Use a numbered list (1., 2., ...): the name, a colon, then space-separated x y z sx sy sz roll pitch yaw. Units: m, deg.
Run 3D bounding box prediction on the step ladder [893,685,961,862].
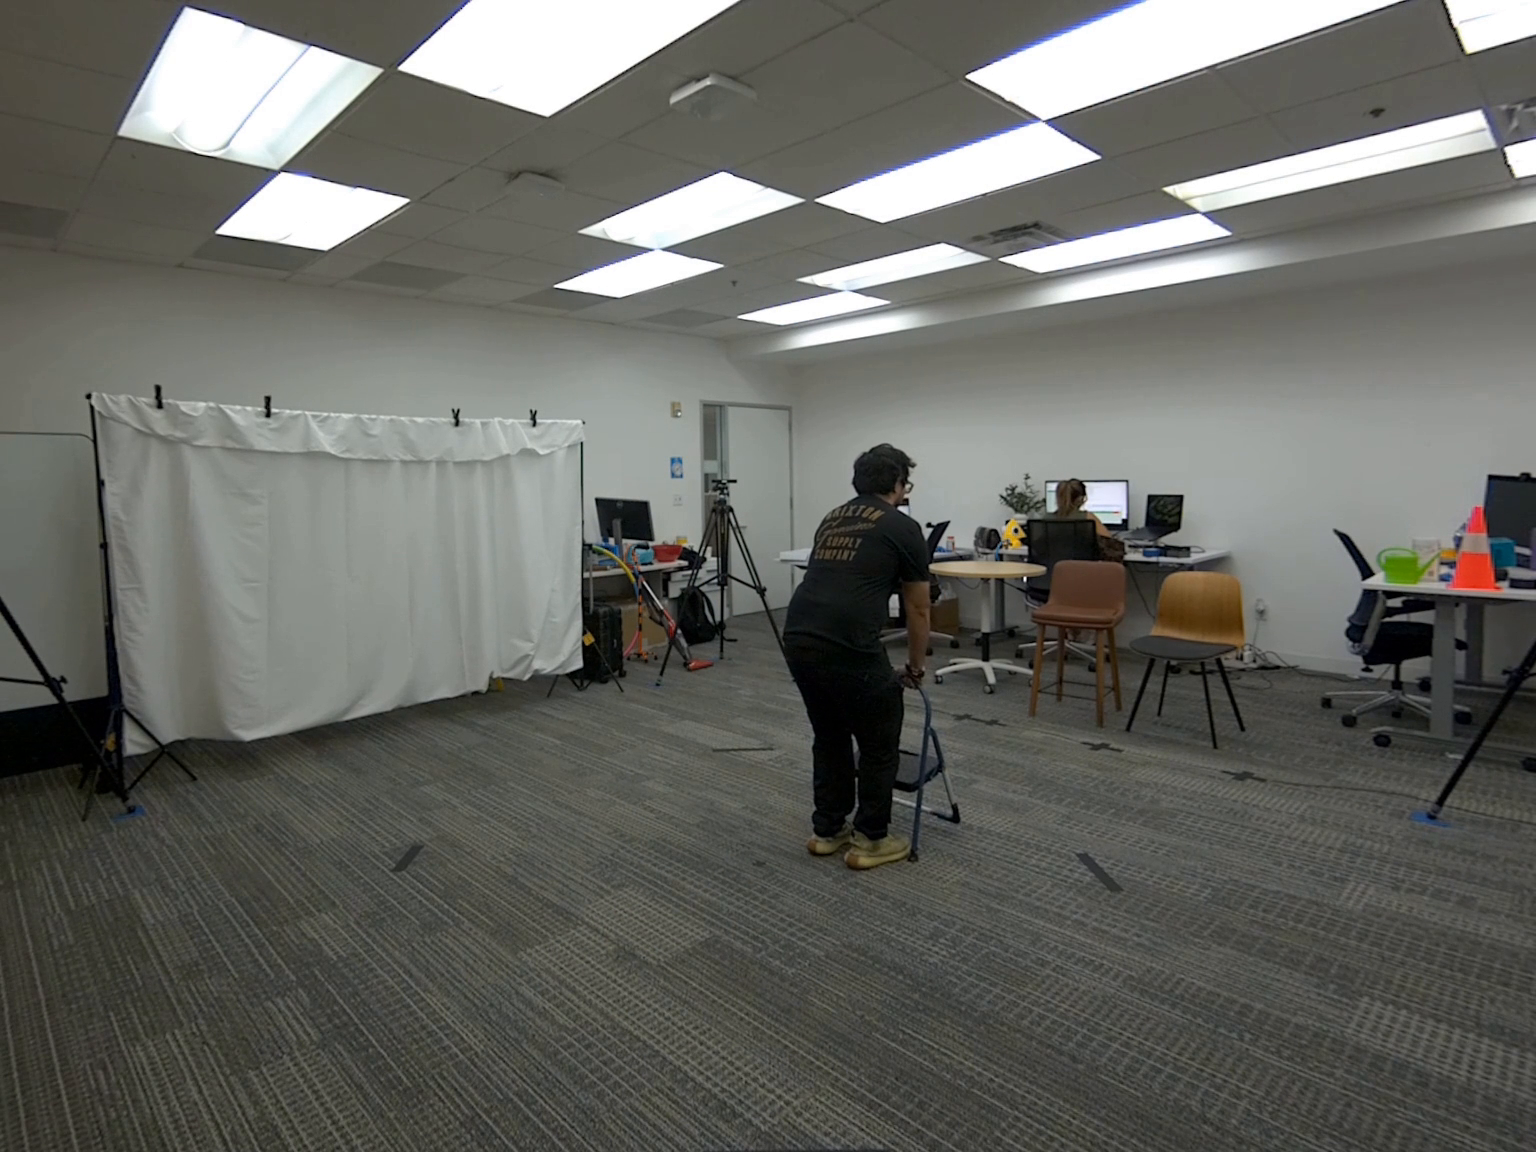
1. step ladder: 0.471 0.687 3.329 0.444 0.600 0.342 4 13 44
